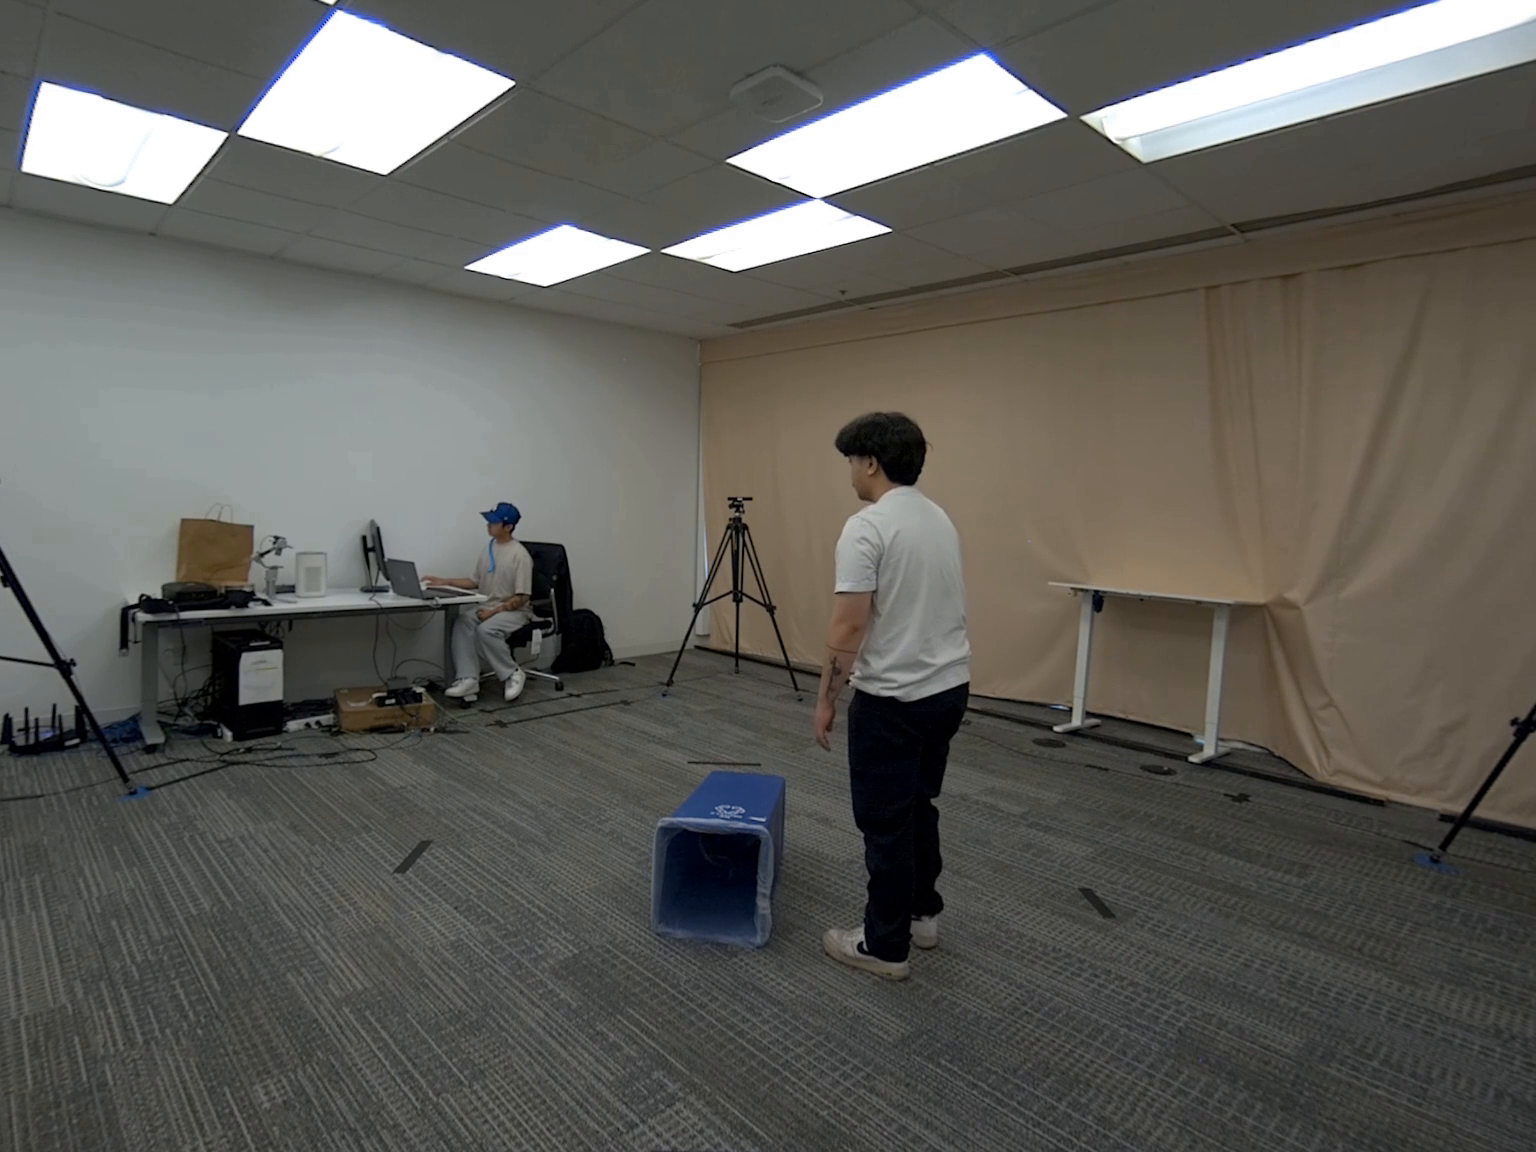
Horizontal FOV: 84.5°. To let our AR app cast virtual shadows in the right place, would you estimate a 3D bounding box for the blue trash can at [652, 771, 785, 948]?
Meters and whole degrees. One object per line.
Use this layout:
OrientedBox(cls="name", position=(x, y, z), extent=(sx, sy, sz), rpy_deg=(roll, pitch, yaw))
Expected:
OrientedBox(cls="blue trash can", position=(-0.144, 0.952, 2.988), extent=(0.377, 0.378, 0.709), rpy_deg=(1, 2, 8))
